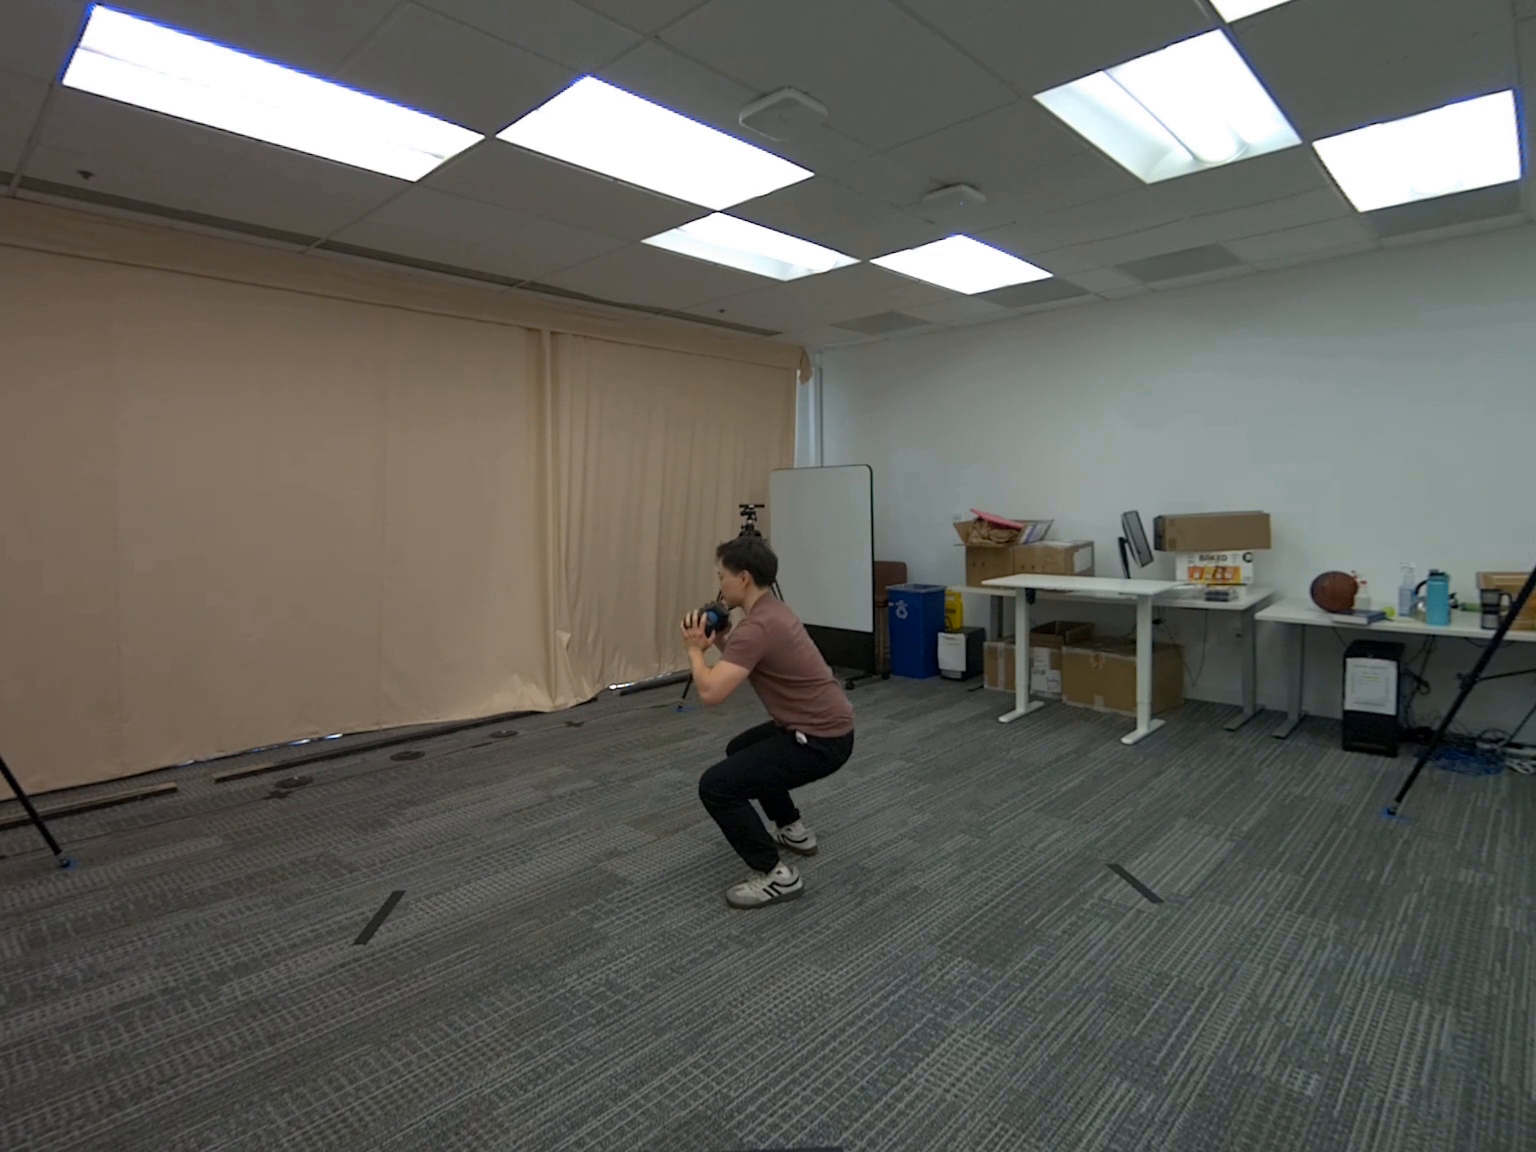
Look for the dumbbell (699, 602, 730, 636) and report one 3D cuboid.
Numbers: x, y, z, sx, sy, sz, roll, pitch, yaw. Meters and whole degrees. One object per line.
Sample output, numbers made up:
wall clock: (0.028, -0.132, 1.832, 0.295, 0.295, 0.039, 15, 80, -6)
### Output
dumbbell: (-0.225, 0.177, 3.222, 0.109, 0.123, 0.293, -46, 3, 14)
